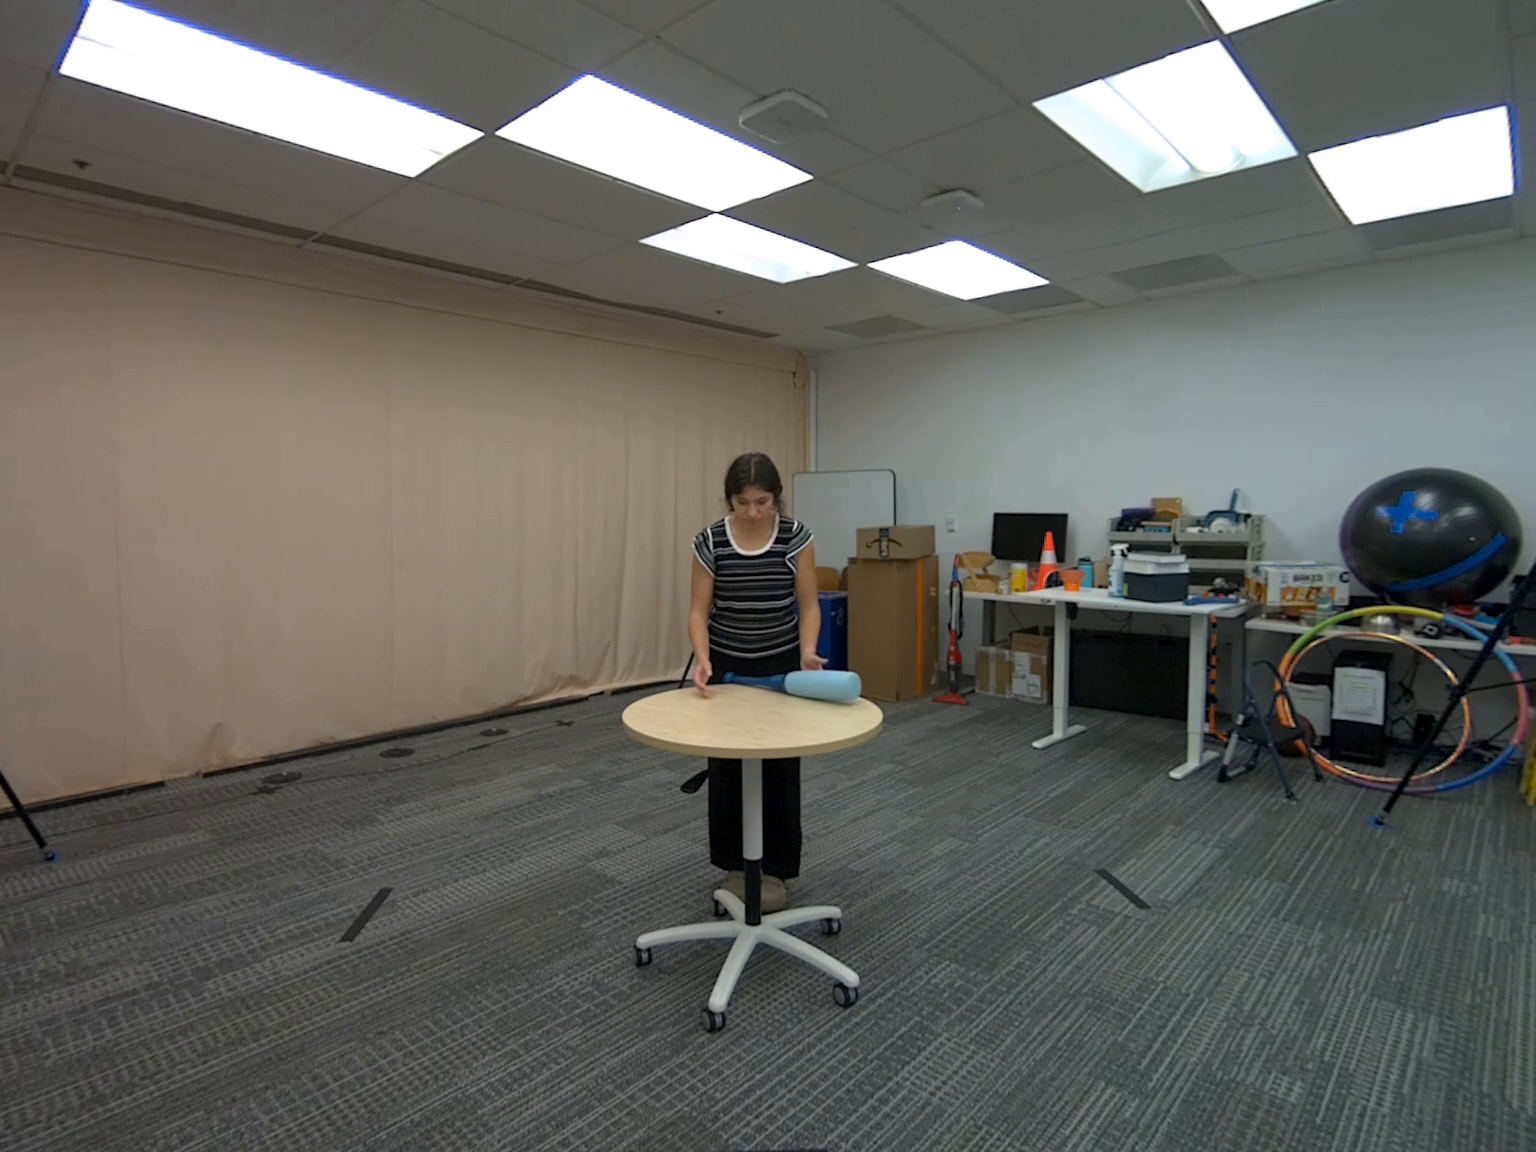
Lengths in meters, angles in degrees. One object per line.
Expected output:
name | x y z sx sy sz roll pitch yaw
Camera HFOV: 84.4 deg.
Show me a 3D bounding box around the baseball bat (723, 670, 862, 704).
baseball bat | 0.061 0.344 2.731 0.086 0.089 0.560 -4 1 -45
